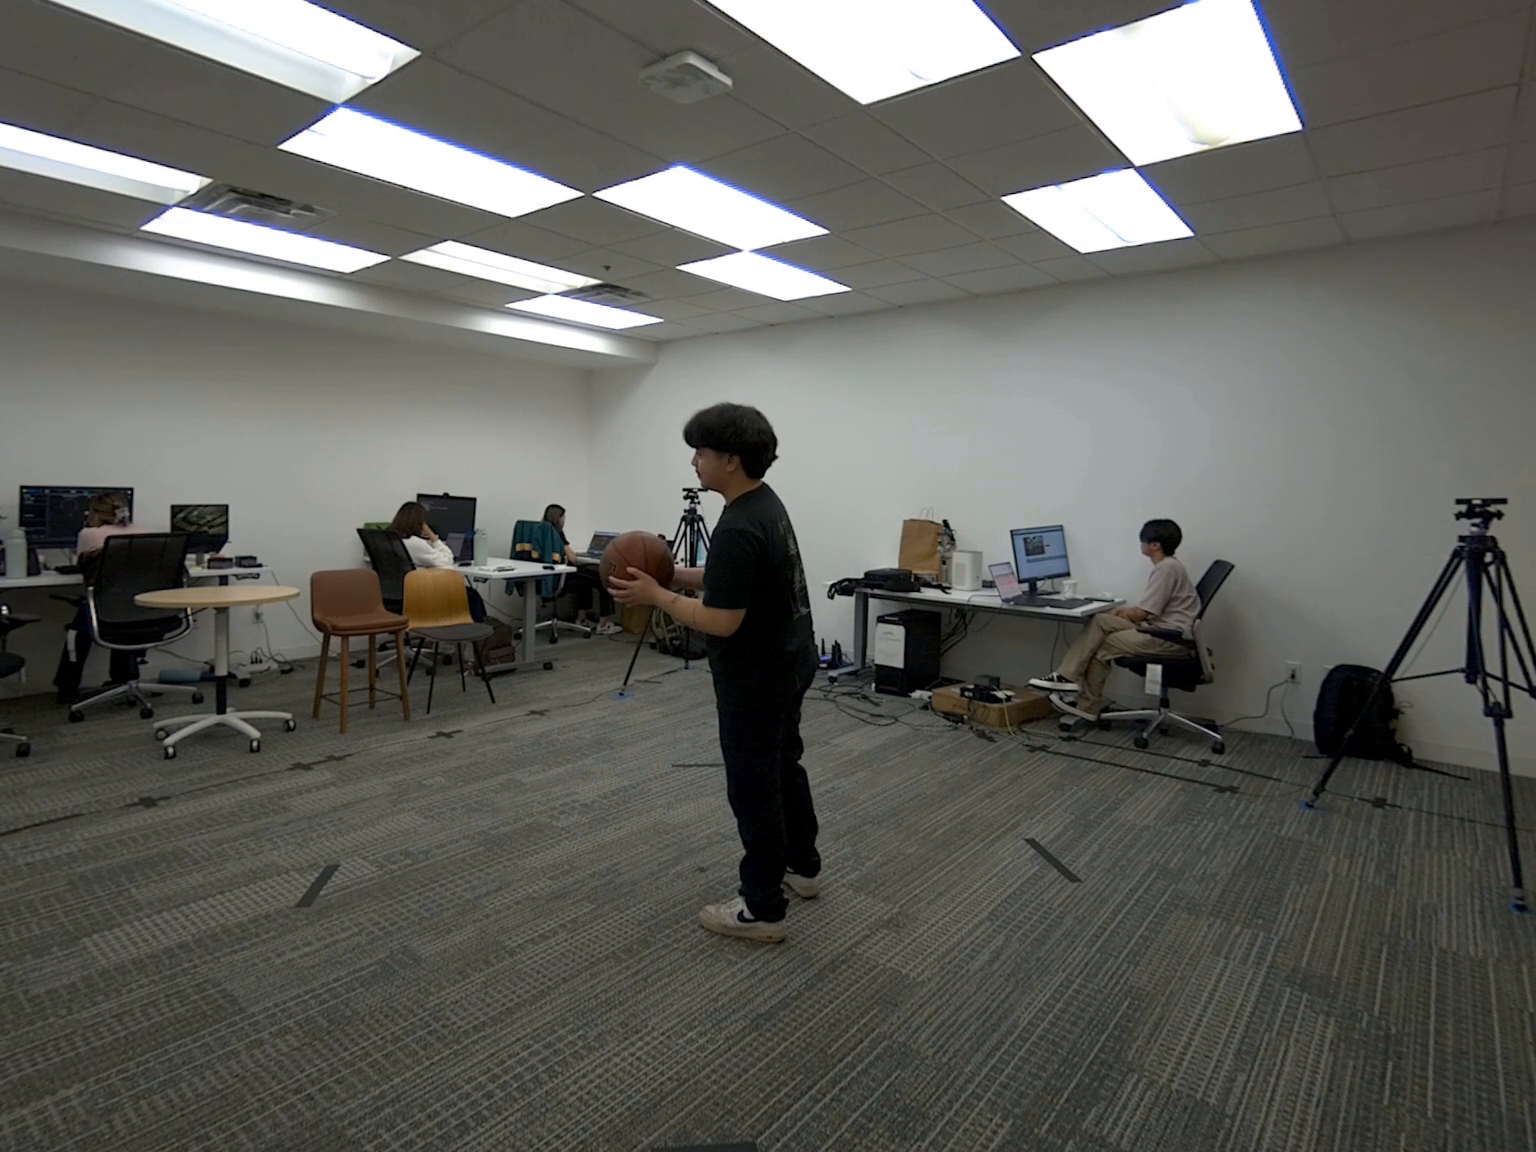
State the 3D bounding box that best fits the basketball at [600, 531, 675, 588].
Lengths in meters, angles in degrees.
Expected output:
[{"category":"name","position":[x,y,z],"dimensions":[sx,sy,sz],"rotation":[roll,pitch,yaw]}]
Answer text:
[{"category":"basketball","position":[-0.418,-0.032,2.720],"dimensions":[0.235,0.235,0.237],"rotation":[1,4,-2]}]
